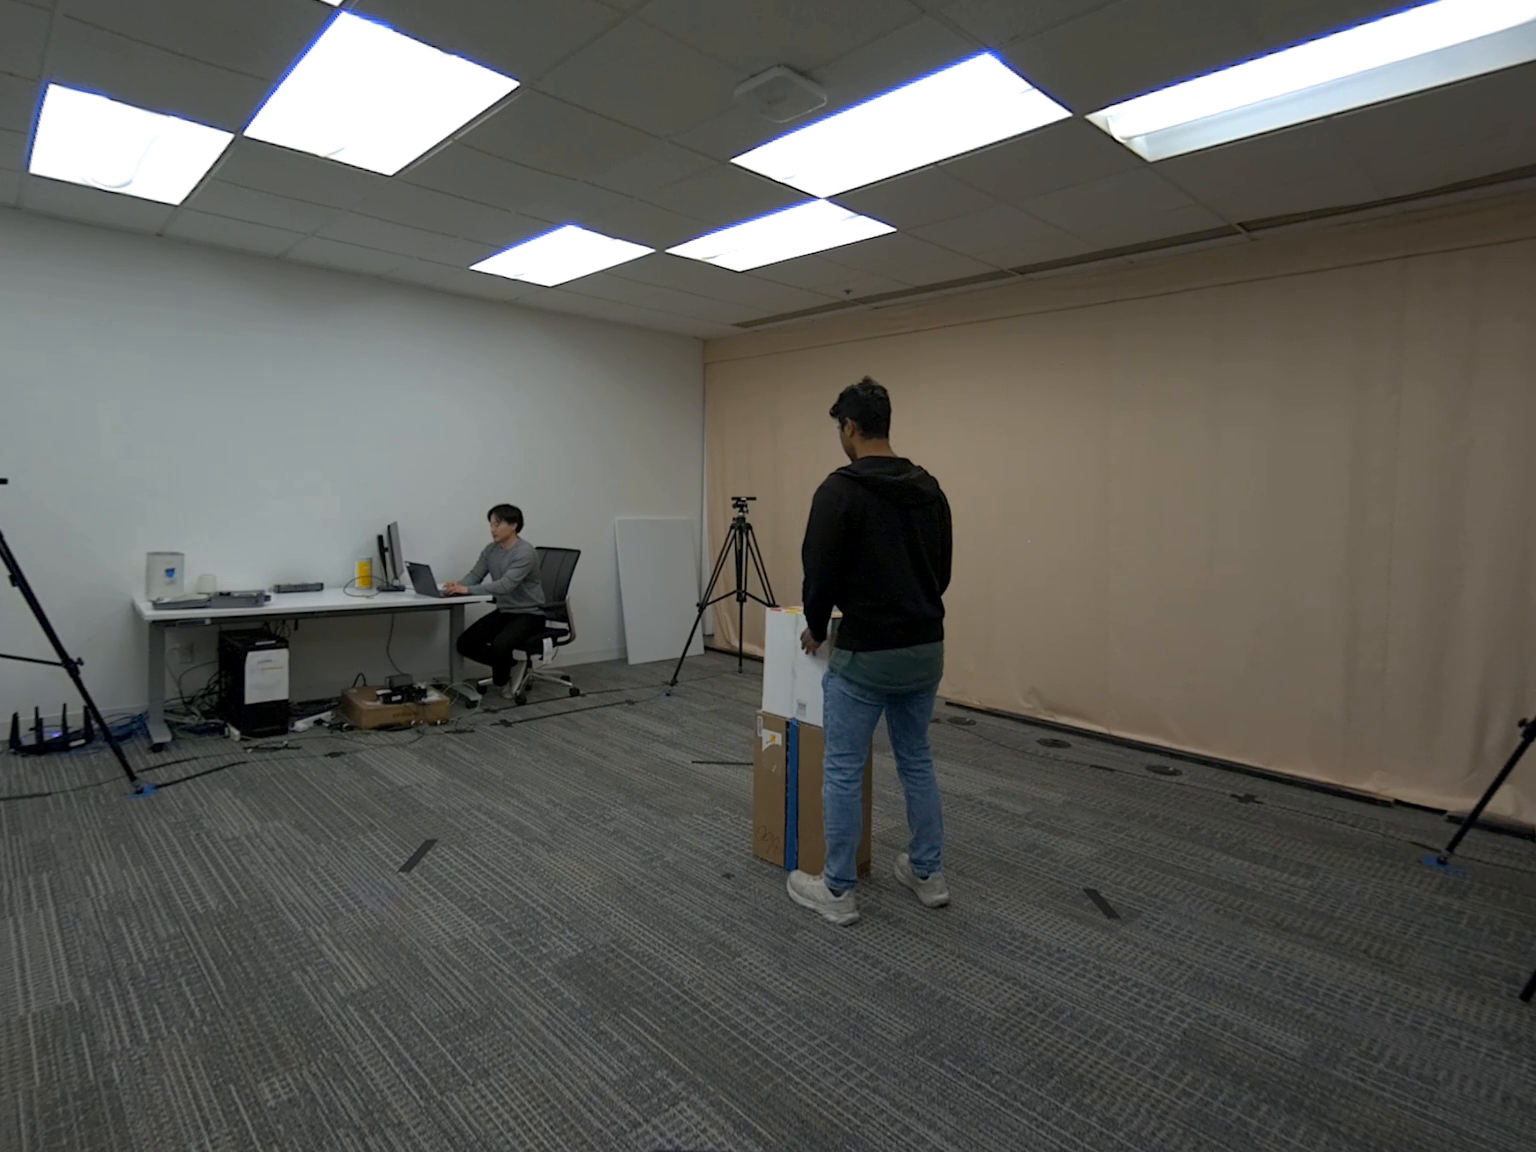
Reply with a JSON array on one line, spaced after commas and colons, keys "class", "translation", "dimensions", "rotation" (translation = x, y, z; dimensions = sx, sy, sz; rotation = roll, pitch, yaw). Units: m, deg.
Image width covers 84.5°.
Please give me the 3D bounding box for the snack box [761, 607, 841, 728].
[{"class": "snack box", "translation": [0.165, 0.335, 3.208], "dimensions": [0.201, 0.404, 0.349], "rotation": [1, 3, -43]}]
